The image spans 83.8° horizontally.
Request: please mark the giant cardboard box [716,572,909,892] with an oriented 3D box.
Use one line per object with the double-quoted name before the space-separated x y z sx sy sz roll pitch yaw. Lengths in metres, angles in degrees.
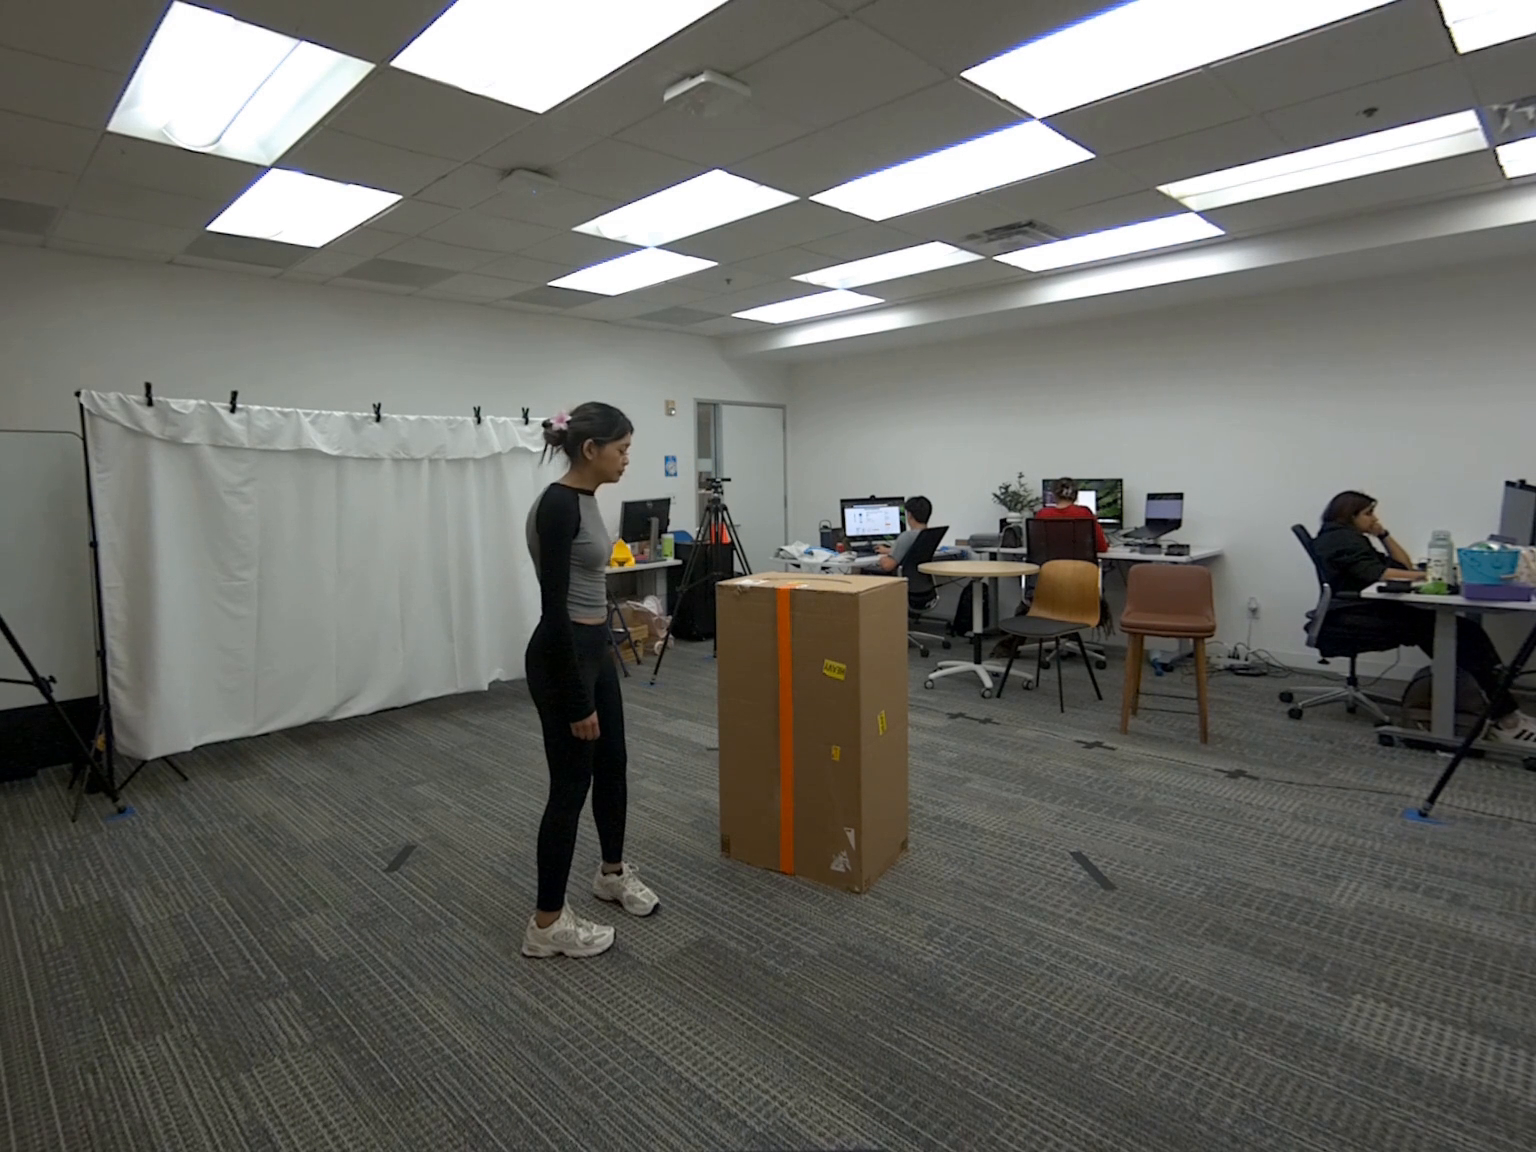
"giant cardboard box" 0.168 0.524 3.149 0.593 1.022 0.416 1 5 34
